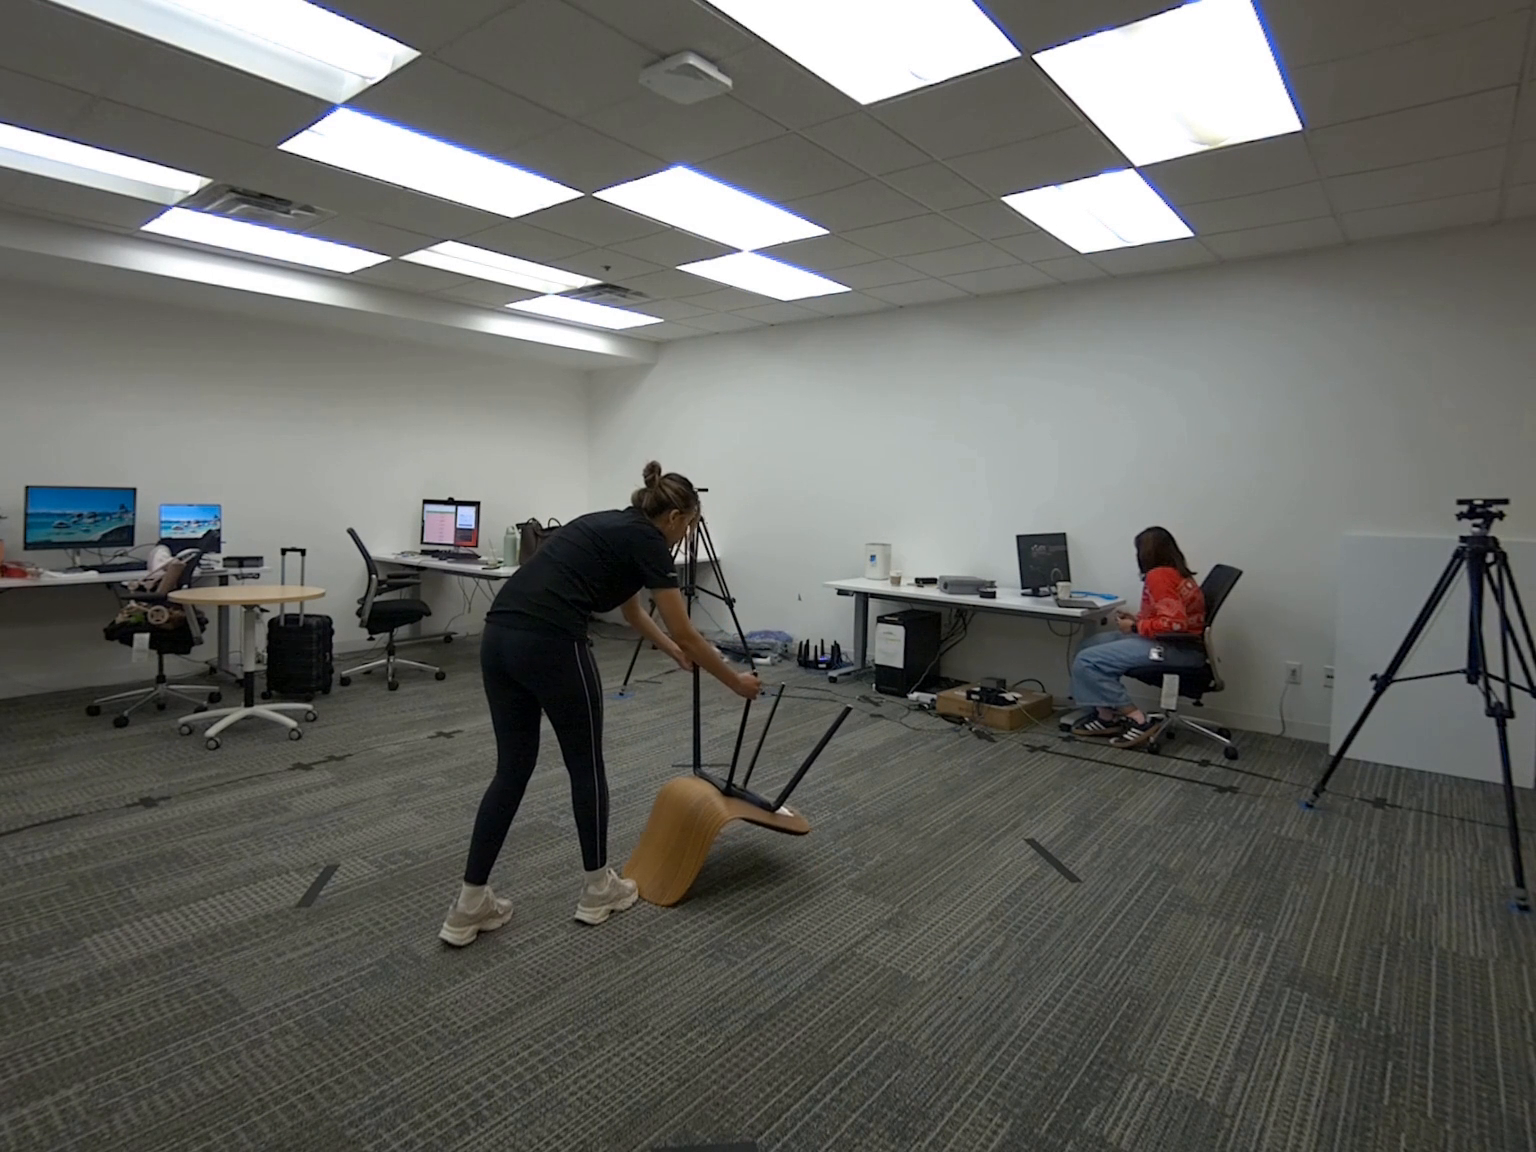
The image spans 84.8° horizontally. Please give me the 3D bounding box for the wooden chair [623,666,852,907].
[{"bbox_3d":[-0.126,0.791,3.135,0.505,0.881,0.493,28,-11,-30],"label":"wooden chair"}]
